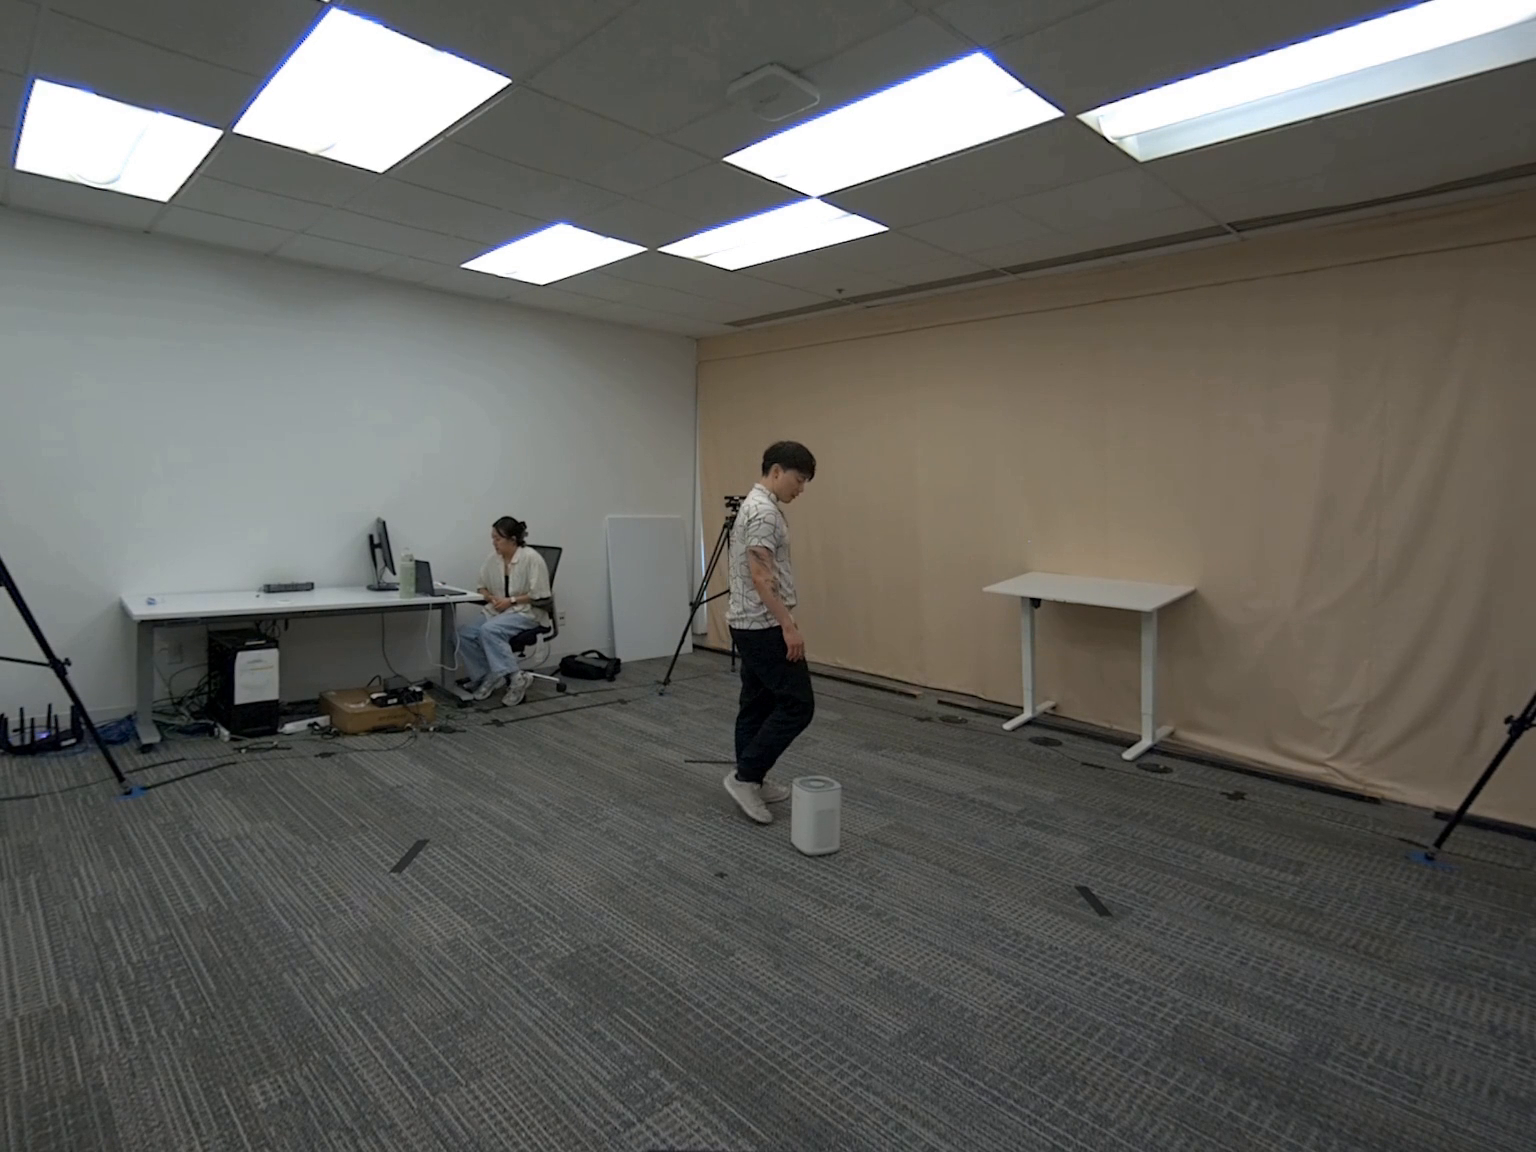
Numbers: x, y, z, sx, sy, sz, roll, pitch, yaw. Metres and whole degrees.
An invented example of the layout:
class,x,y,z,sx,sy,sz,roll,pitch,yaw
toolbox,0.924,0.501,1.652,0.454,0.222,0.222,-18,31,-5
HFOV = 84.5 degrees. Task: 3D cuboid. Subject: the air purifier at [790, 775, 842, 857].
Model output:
class,x,y,z,sx,sy,sz,roll,pitch,yaw
air purifier,0.182,0.955,3.359,0.168,0.265,0.175,-1,4,-24
